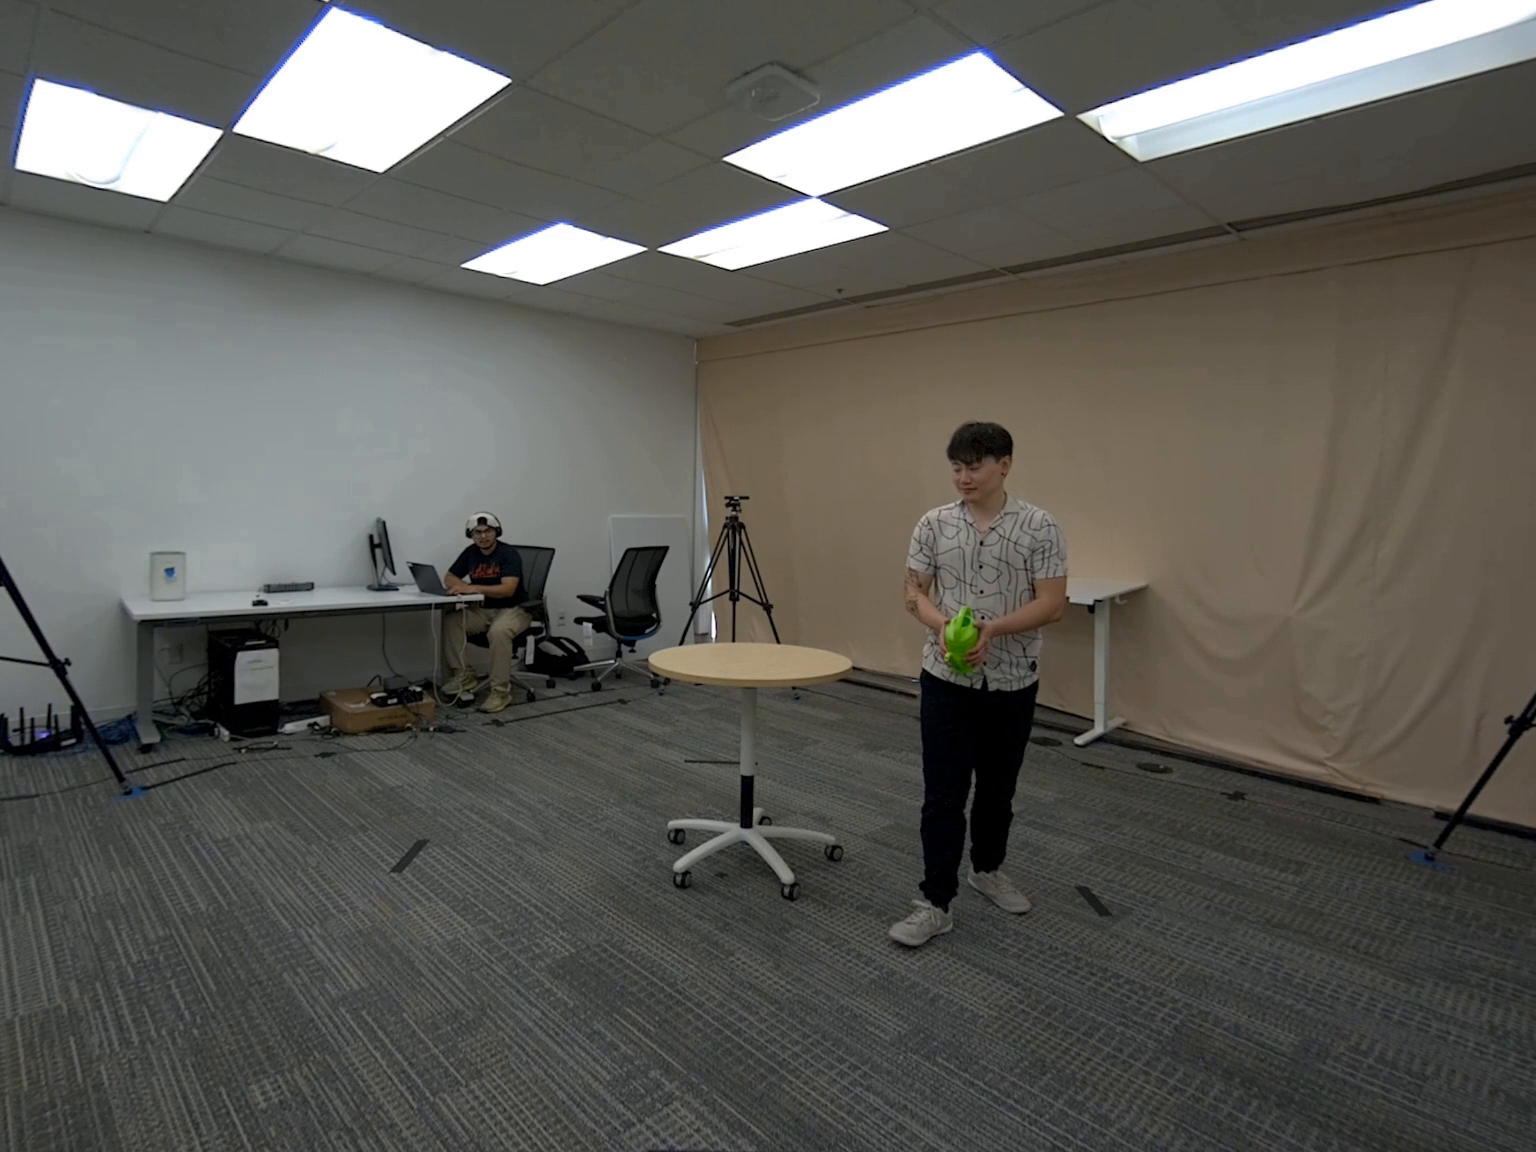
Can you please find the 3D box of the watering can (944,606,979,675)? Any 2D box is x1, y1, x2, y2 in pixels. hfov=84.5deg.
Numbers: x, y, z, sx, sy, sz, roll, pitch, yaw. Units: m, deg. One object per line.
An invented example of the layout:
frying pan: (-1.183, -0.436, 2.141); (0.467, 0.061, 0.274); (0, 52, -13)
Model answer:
watering can: (0.565, 0.218, 2.550); (0.100, 0.172, 0.278); (5, 39, 36)
